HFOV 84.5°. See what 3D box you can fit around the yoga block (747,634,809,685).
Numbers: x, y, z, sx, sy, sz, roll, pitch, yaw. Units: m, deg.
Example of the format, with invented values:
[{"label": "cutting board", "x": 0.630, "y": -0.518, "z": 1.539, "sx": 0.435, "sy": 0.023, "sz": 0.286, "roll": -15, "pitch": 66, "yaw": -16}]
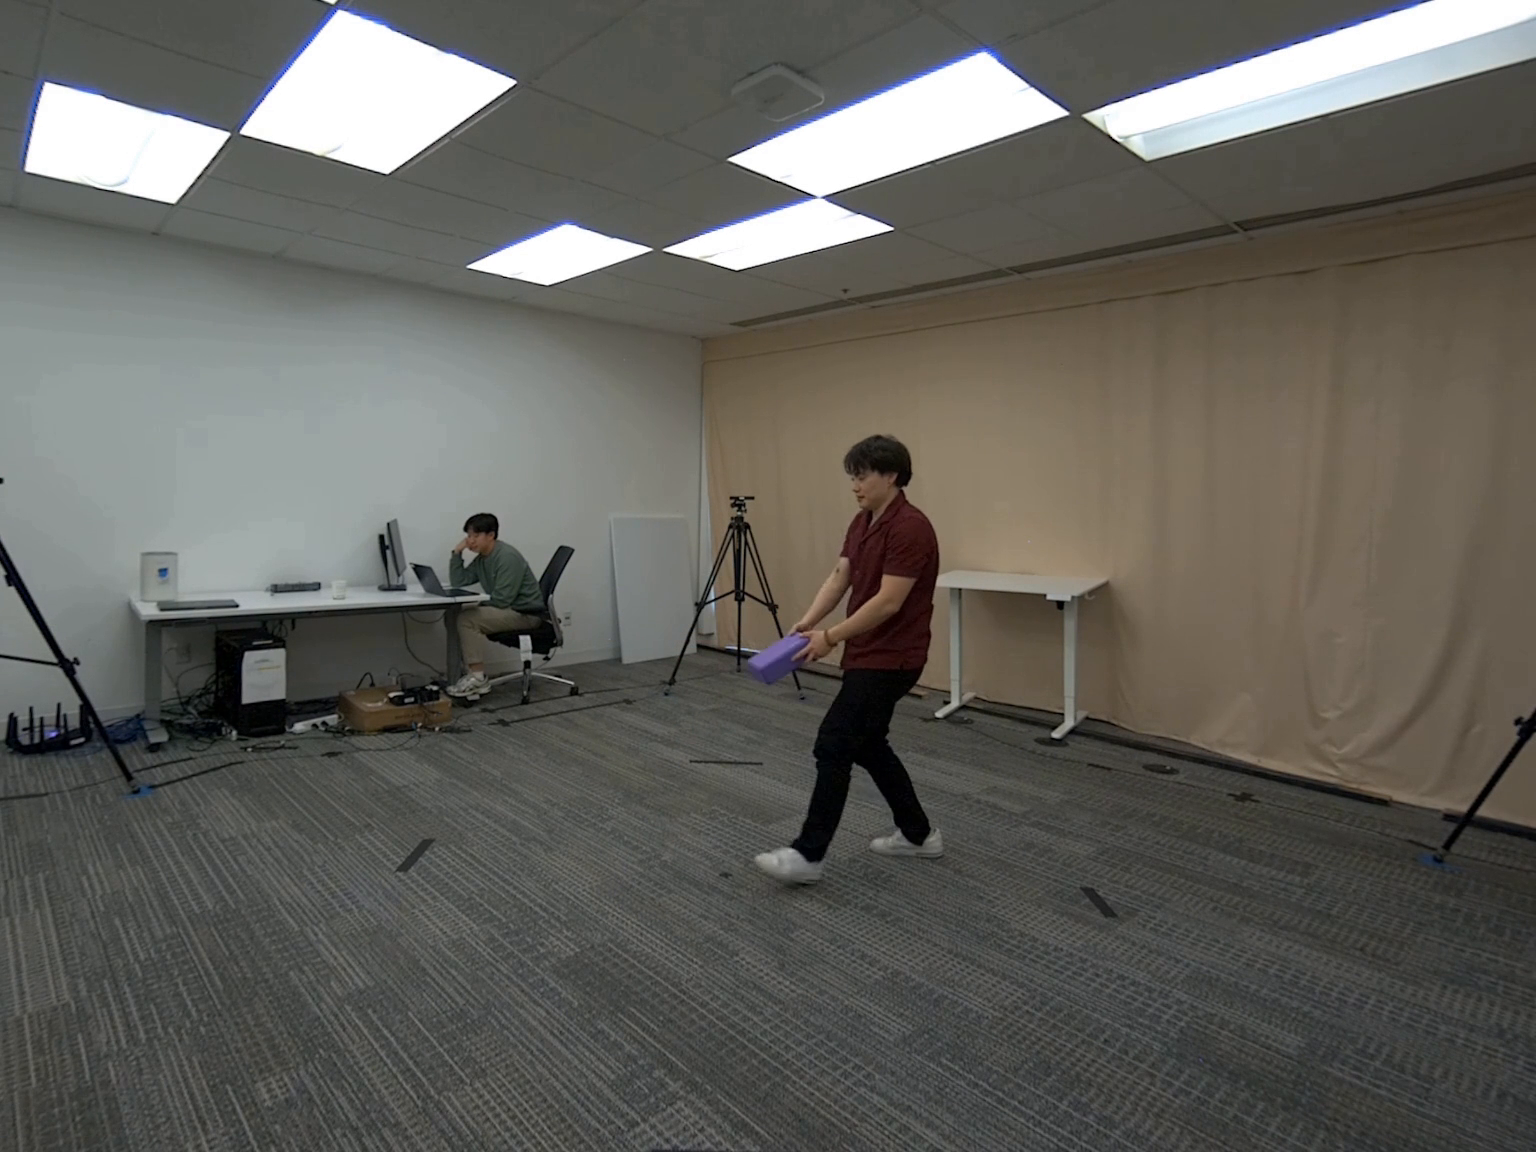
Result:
[{"label": "yoga block", "x": 0.032, "y": 0.291, "z": 3.065, "sx": 0.228, "sy": 0.075, "sz": 0.151, "roll": -29, "pitch": 12, "yaw": -14}]
